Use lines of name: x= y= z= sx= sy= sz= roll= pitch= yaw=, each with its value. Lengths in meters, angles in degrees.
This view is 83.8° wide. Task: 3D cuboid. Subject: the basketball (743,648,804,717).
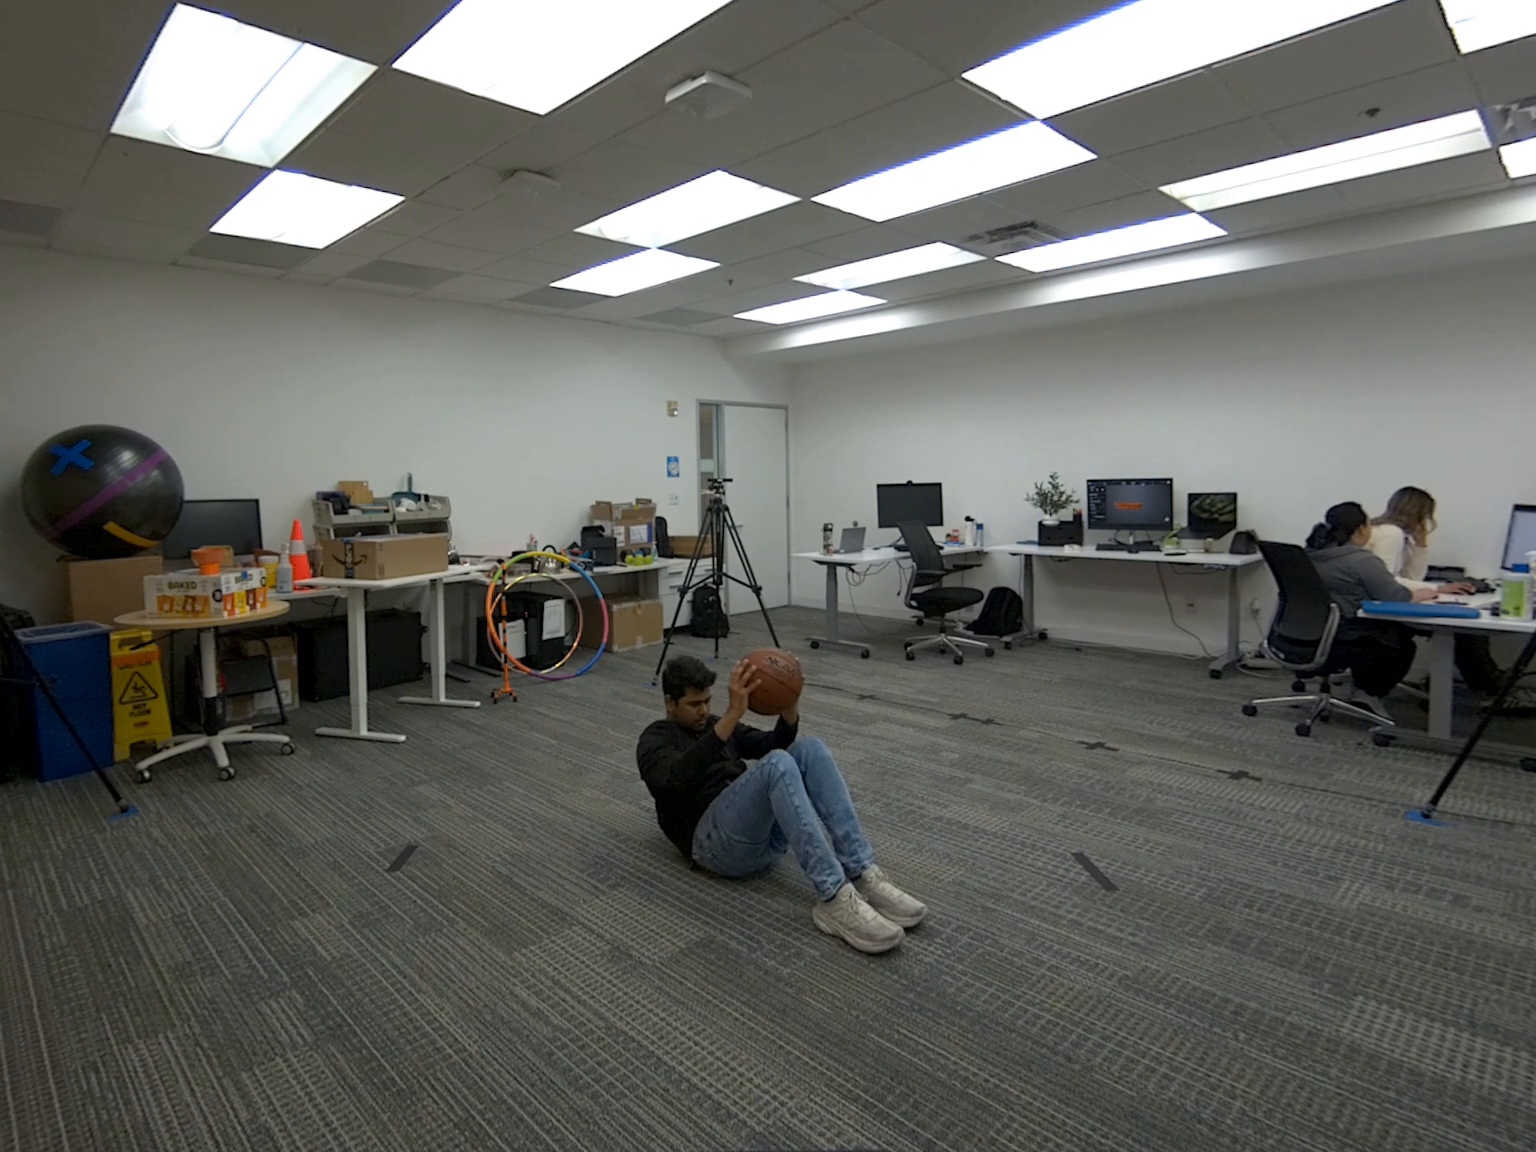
basketball: x=-0.002 y=0.371 z=2.993 sx=0.236 sy=0.235 sz=0.237 roll=-1 pitch=5 yaw=-2
